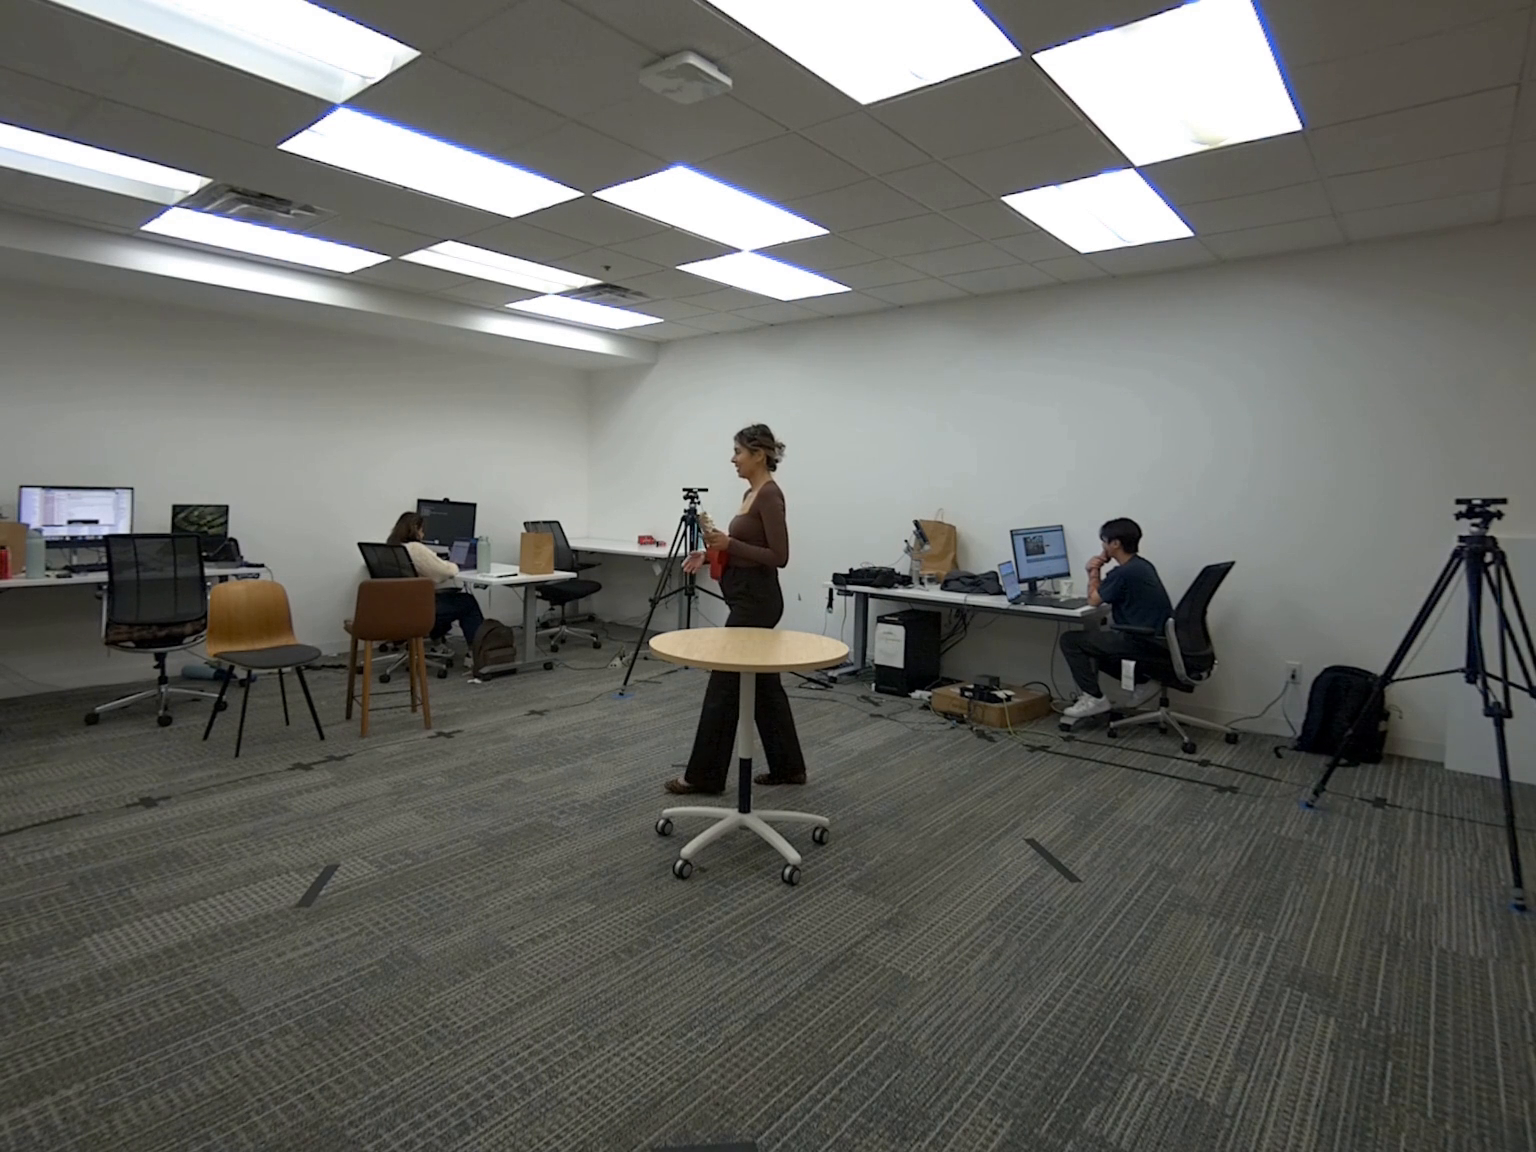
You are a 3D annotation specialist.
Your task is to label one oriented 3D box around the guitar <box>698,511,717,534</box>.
[{"bbox_3d":[-0.263,-0.131,3.864,0.072,0.194,0.482,19,-14,17],"label":"guitar"}]
